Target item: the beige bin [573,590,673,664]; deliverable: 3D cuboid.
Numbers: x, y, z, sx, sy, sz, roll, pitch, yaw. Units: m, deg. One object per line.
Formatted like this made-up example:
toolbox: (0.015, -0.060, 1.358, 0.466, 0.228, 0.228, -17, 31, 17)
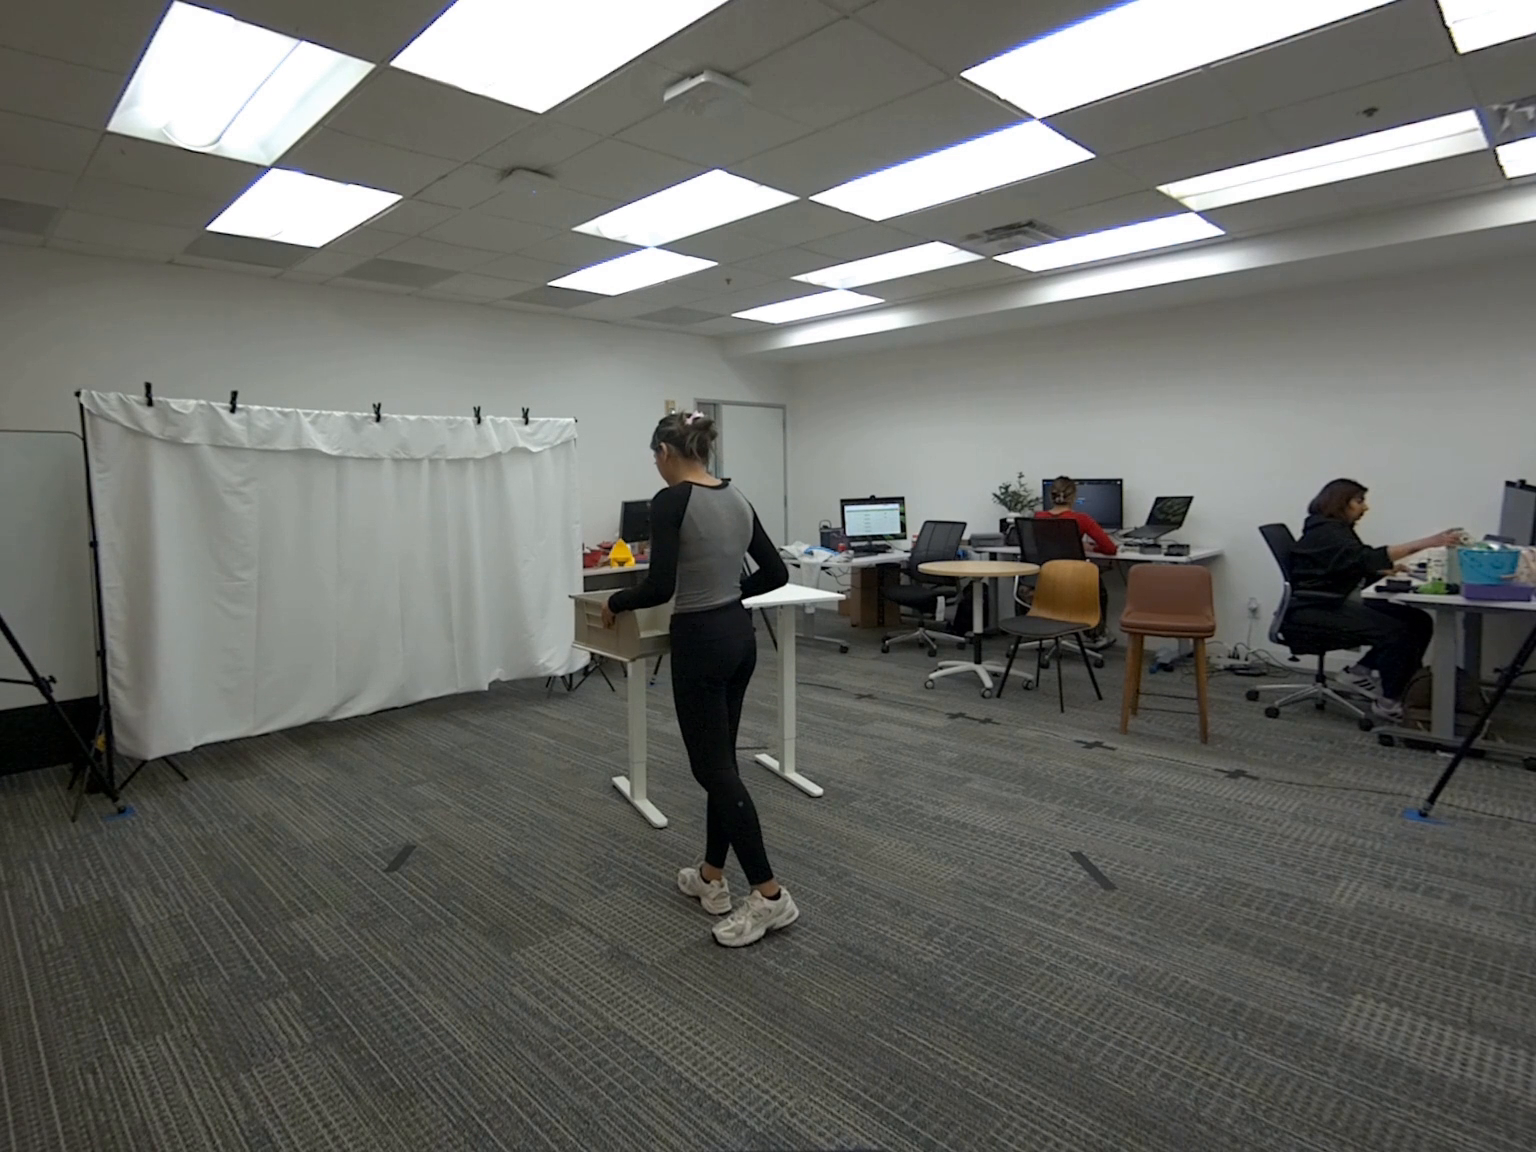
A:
beige bin: (-0.405, 0.151, 2.951, 0.389, 0.188, 0.411, 6, 10, 44)
